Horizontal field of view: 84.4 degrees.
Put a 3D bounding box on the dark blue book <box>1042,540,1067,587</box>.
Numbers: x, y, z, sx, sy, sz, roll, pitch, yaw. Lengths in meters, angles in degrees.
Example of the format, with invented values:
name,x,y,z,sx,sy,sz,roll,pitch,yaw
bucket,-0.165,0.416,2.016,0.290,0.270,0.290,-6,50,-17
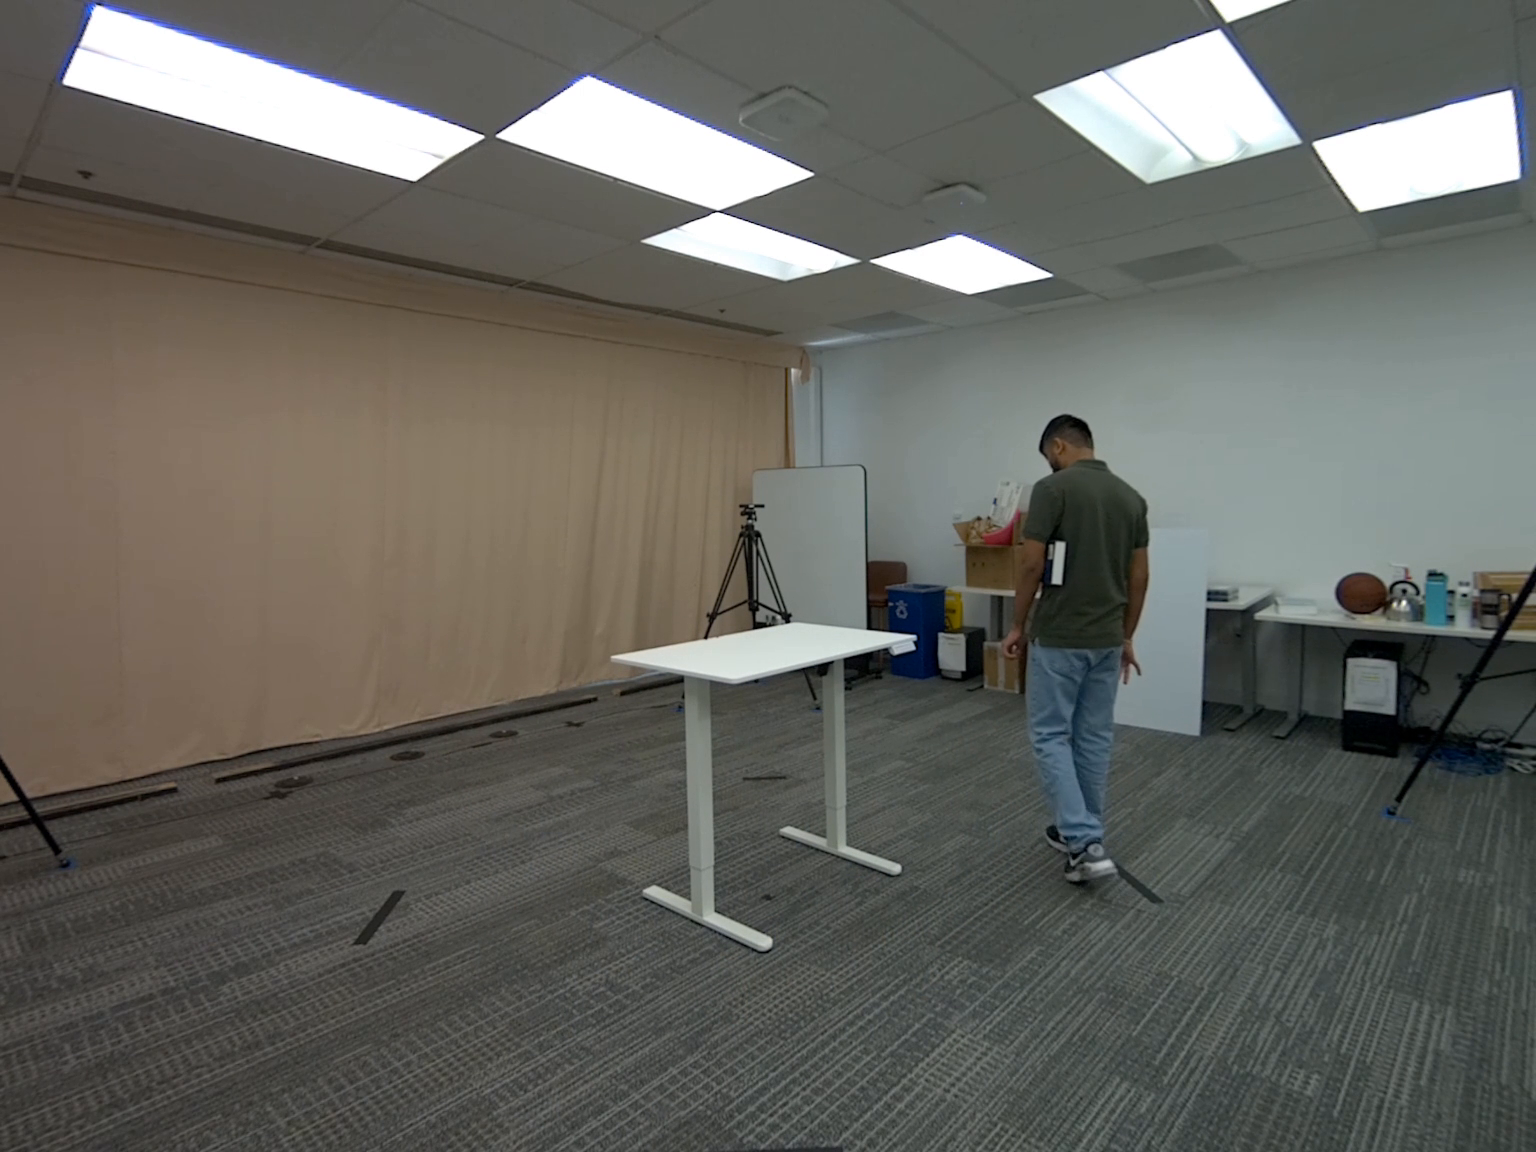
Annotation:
name,x,y,z,sx,sy,sz,roll,pitch,yaw
dark blue book,1.042,-0.056,3.117,0.045,0.163,0.247,4,4,-6
